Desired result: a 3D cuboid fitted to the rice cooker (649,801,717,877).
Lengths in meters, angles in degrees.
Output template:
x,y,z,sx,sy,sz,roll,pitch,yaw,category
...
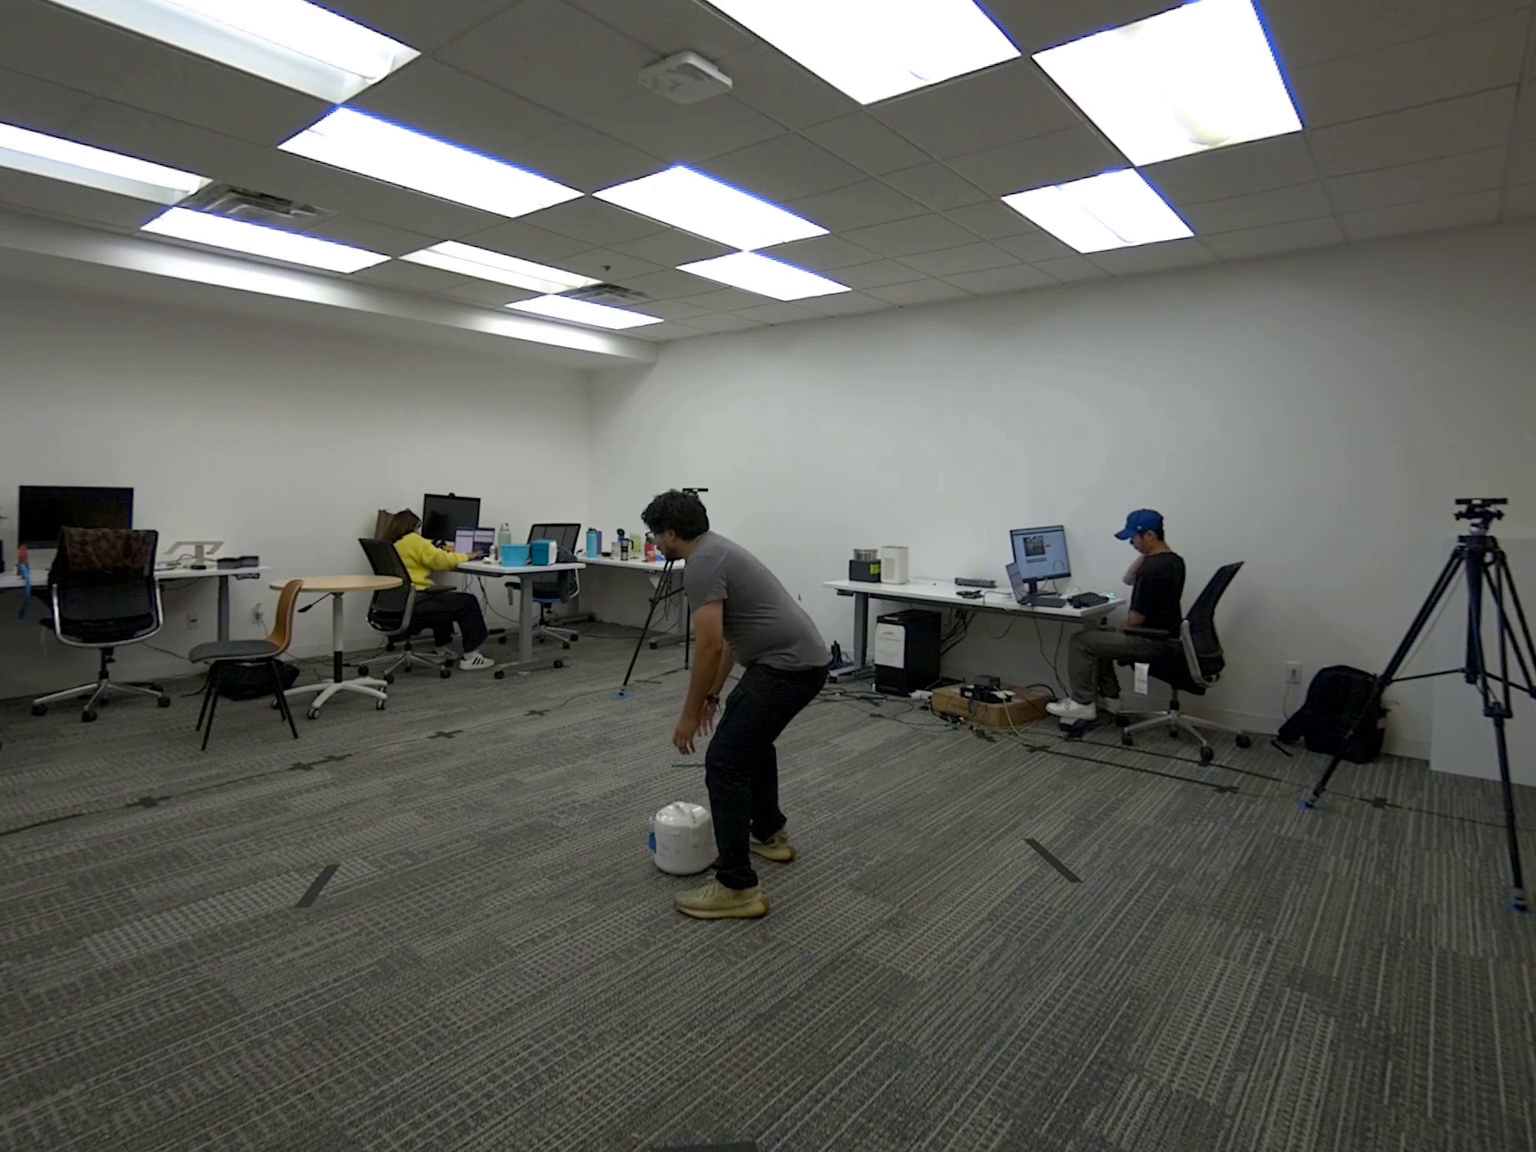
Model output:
x,y,z,sx,sy,sz,roll,pitch,yaw,category
-0.322,0.945,3.131,0.212,0.232,0.227,-1,5,-27,rice cooker
